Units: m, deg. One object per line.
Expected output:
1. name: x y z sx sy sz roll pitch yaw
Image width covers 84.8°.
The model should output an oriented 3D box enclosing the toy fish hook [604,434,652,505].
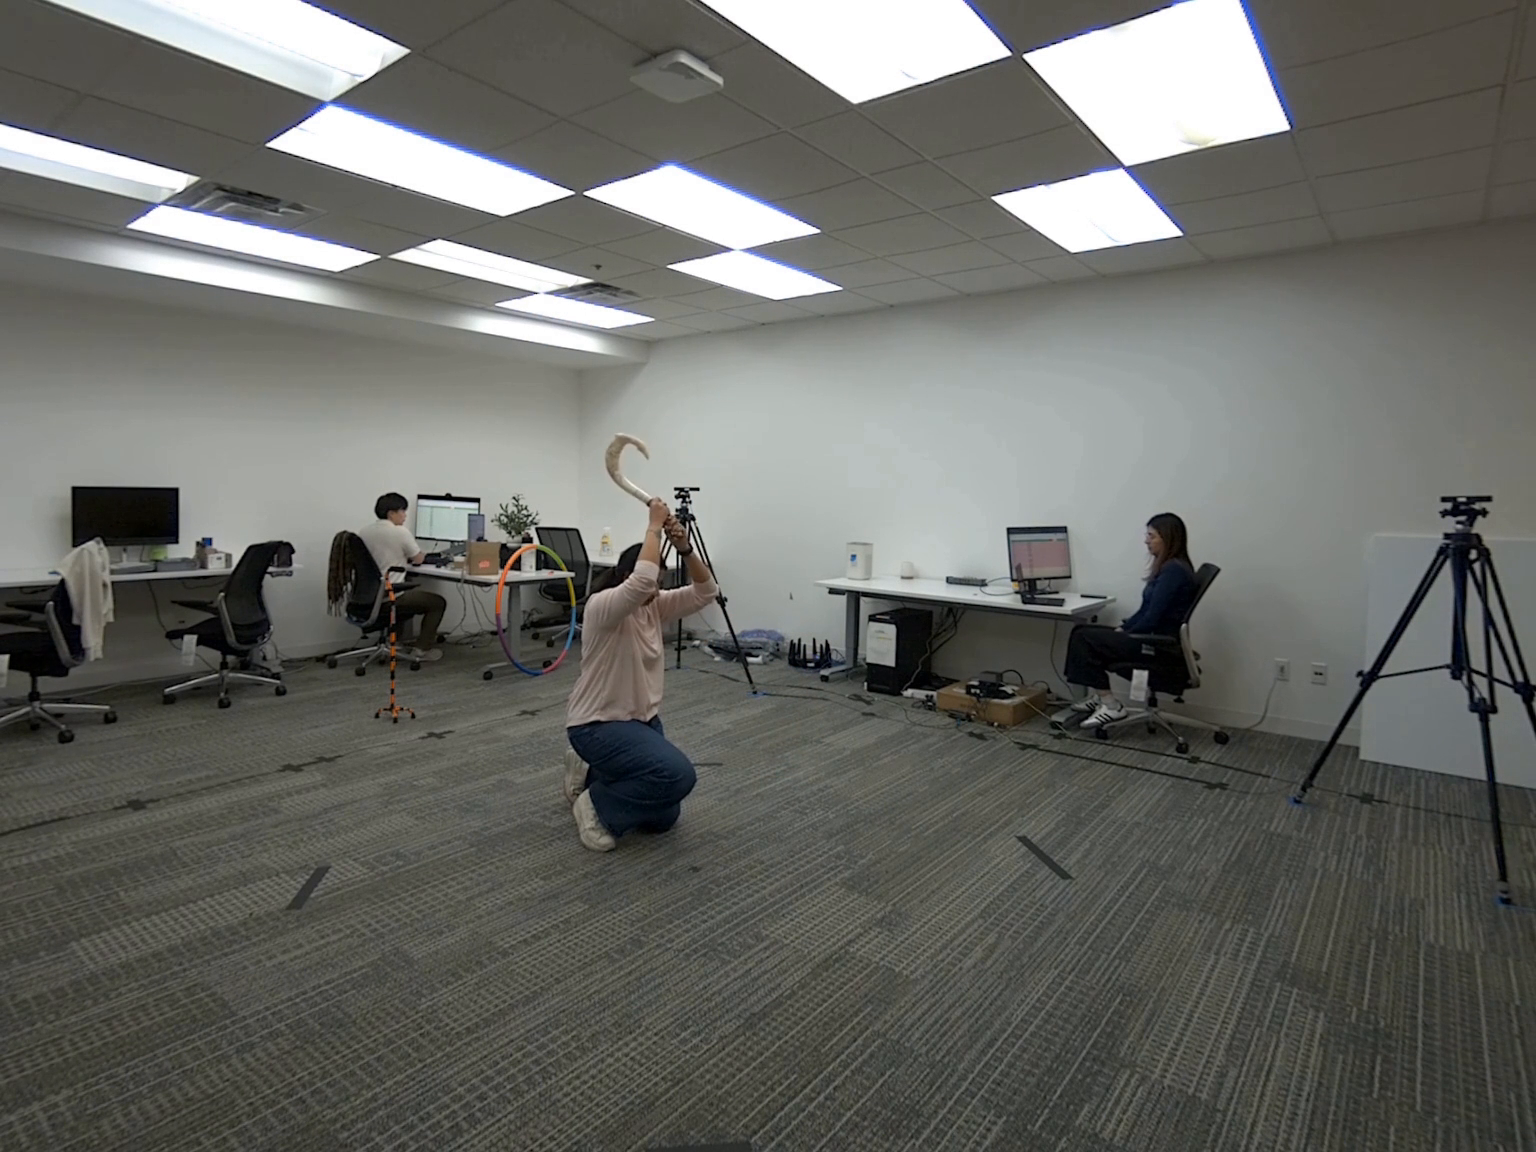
1. toy fish hook: -0.482 -0.364 3.371 0.521 0.223 0.047 49 35 20
